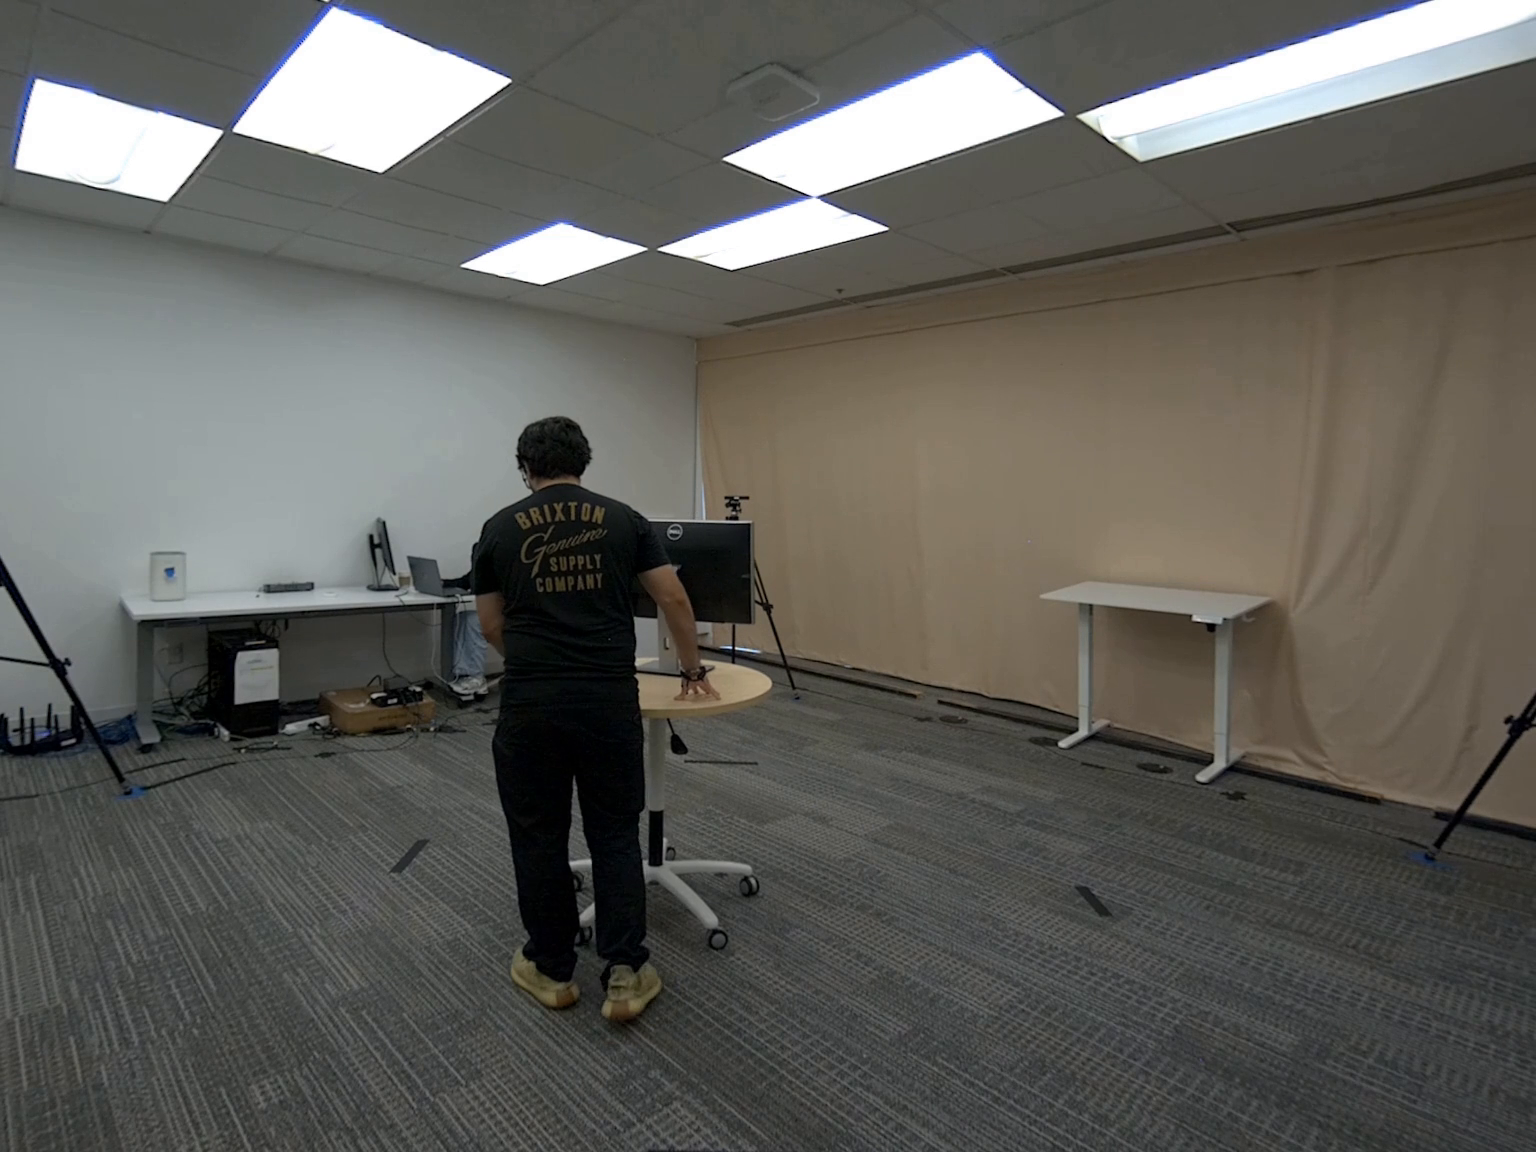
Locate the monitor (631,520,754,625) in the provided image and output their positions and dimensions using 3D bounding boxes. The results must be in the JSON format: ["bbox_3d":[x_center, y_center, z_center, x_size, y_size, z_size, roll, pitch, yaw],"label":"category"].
[{"bbox_3d":[-0.338,0.080,2.949,0.574,0.551,0.208,3,6,19],"label":"monitor"}]
